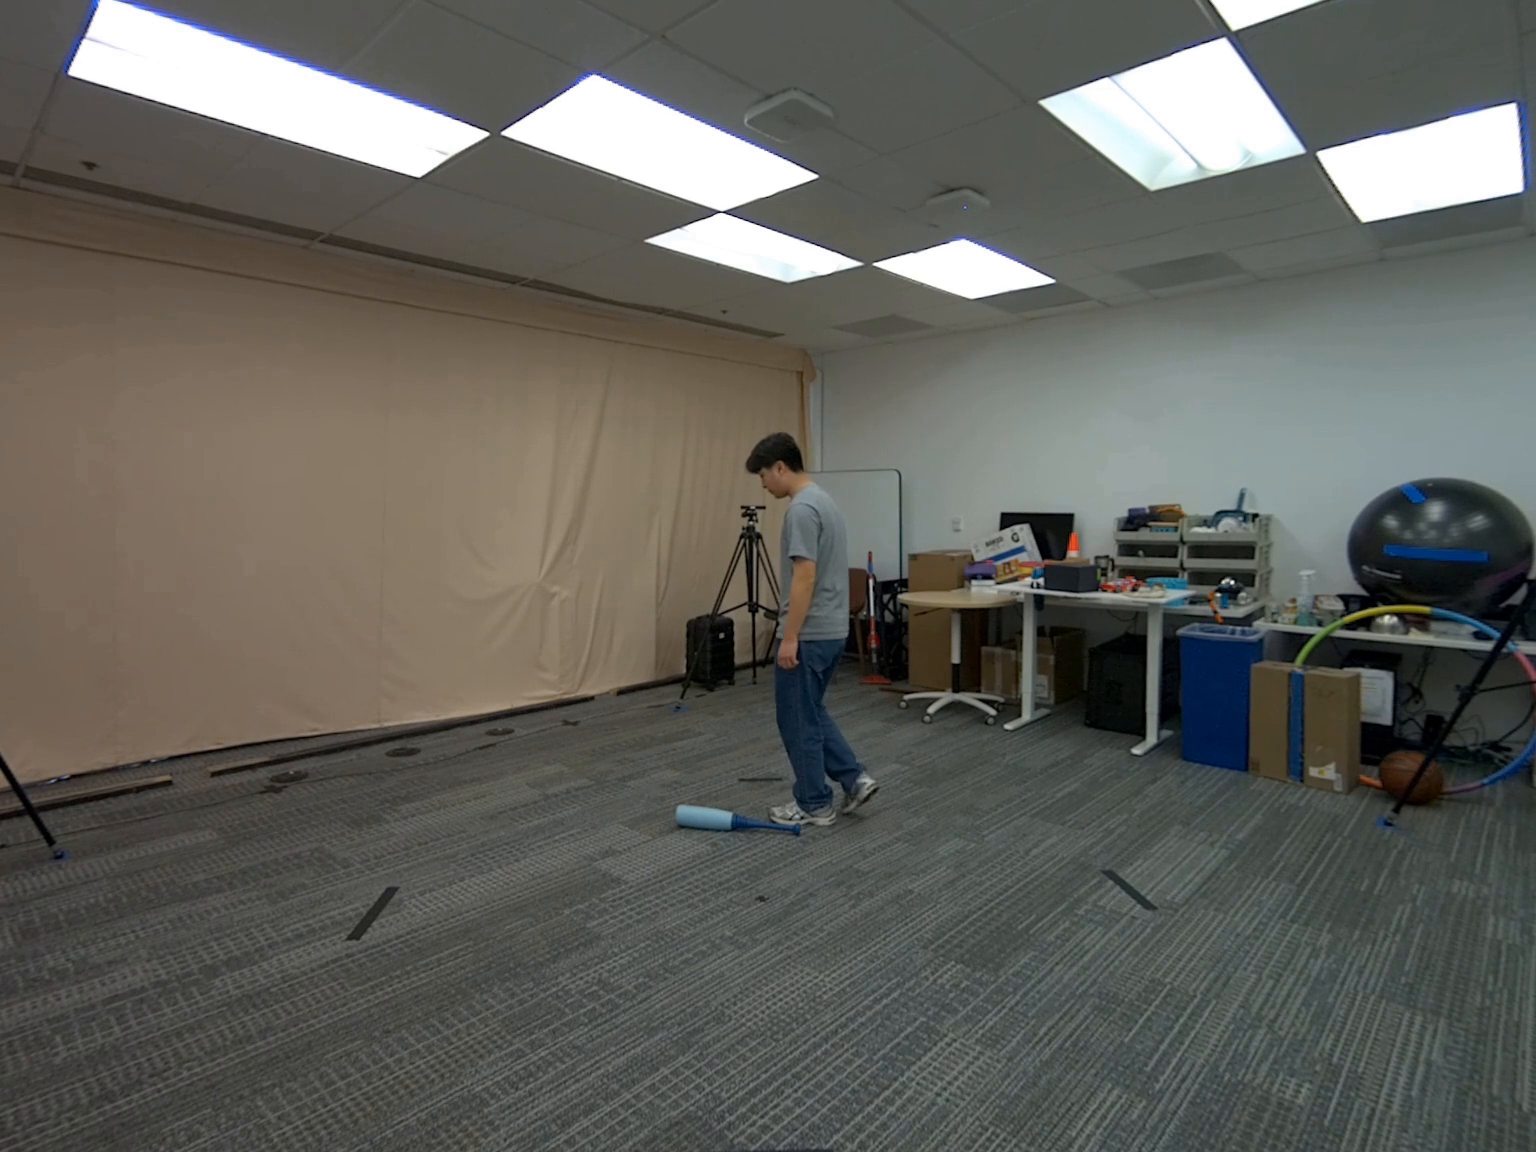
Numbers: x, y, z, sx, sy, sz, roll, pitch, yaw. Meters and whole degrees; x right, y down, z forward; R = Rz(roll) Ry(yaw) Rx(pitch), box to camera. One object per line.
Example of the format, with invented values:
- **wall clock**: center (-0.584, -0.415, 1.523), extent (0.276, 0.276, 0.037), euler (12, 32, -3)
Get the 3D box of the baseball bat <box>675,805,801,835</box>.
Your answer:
- **baseball bat**: center (-0.132, 1.057, 3.610), extent (0.550, 0.089, 0.088), euler (3, 4, 11)
